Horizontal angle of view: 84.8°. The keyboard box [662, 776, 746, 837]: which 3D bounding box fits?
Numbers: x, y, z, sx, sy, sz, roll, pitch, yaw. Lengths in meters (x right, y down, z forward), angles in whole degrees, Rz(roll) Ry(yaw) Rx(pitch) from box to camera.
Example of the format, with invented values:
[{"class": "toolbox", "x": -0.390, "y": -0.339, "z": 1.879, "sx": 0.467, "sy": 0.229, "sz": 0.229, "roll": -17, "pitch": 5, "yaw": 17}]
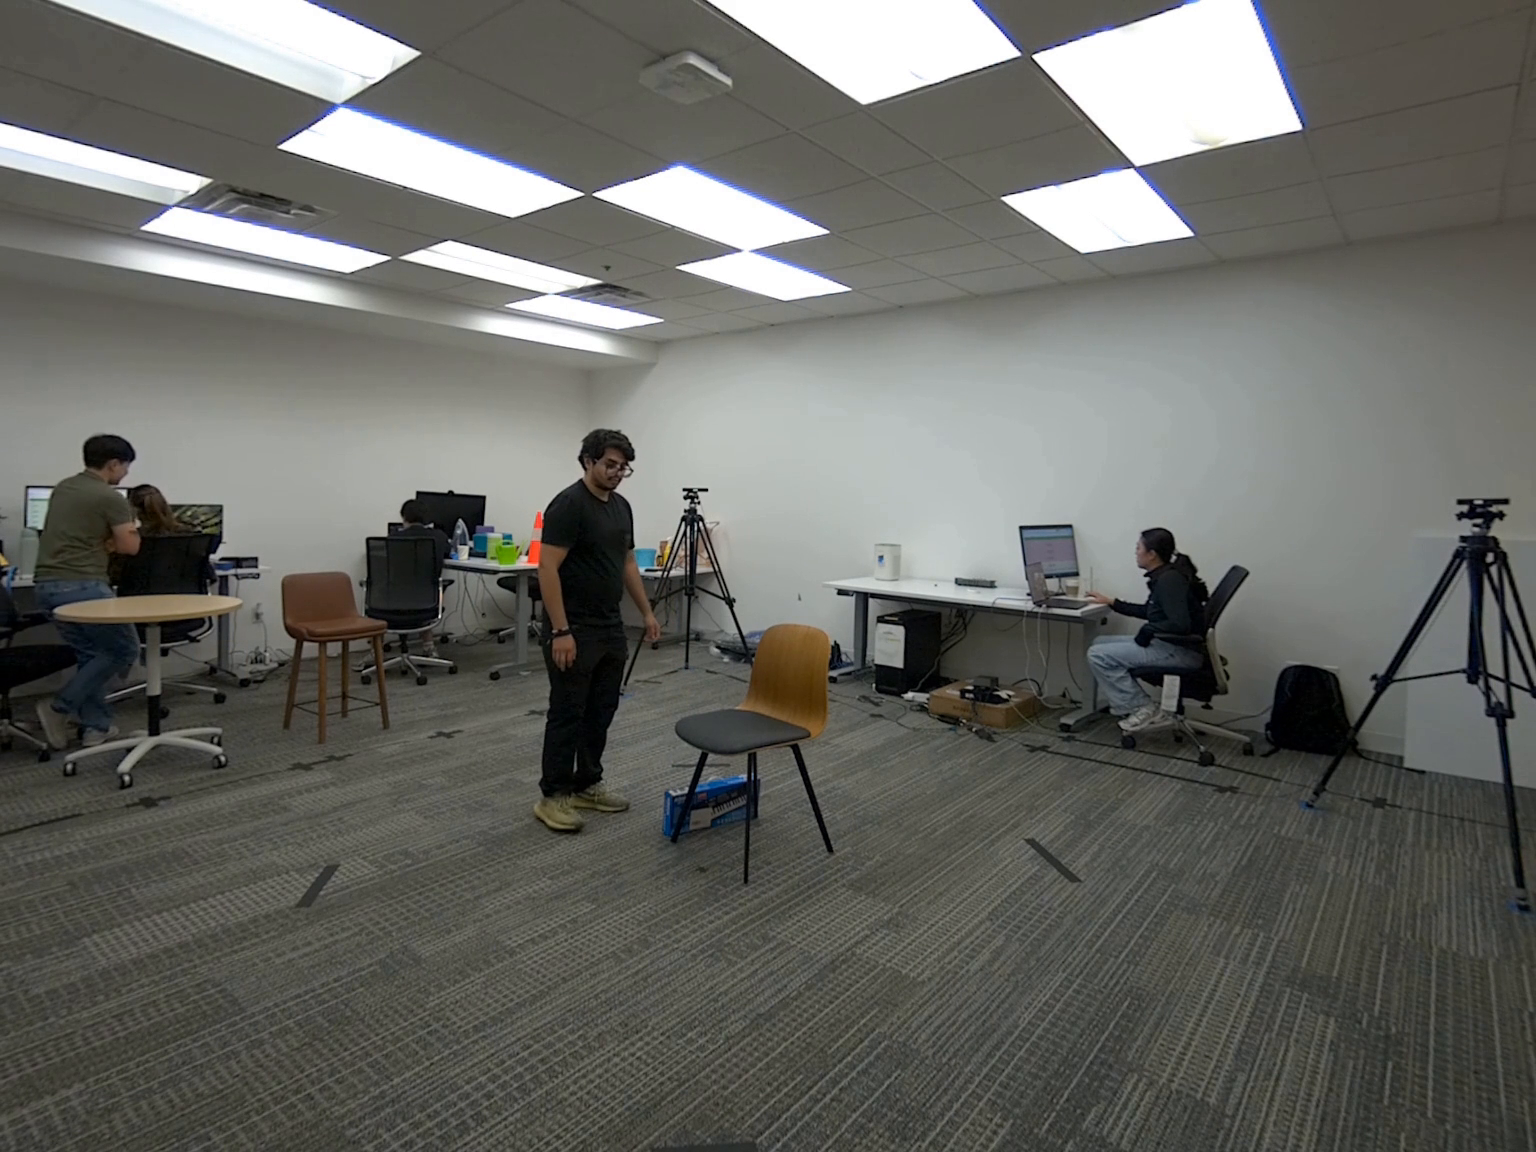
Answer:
[{"class": "keyboard box", "x": -0.243, "y": 0.947, "z": 3.524, "sx": 0.424, "sy": 0.175, "sz": 0.061, "roll": -3, "pitch": 10, "yaw": -34}]
